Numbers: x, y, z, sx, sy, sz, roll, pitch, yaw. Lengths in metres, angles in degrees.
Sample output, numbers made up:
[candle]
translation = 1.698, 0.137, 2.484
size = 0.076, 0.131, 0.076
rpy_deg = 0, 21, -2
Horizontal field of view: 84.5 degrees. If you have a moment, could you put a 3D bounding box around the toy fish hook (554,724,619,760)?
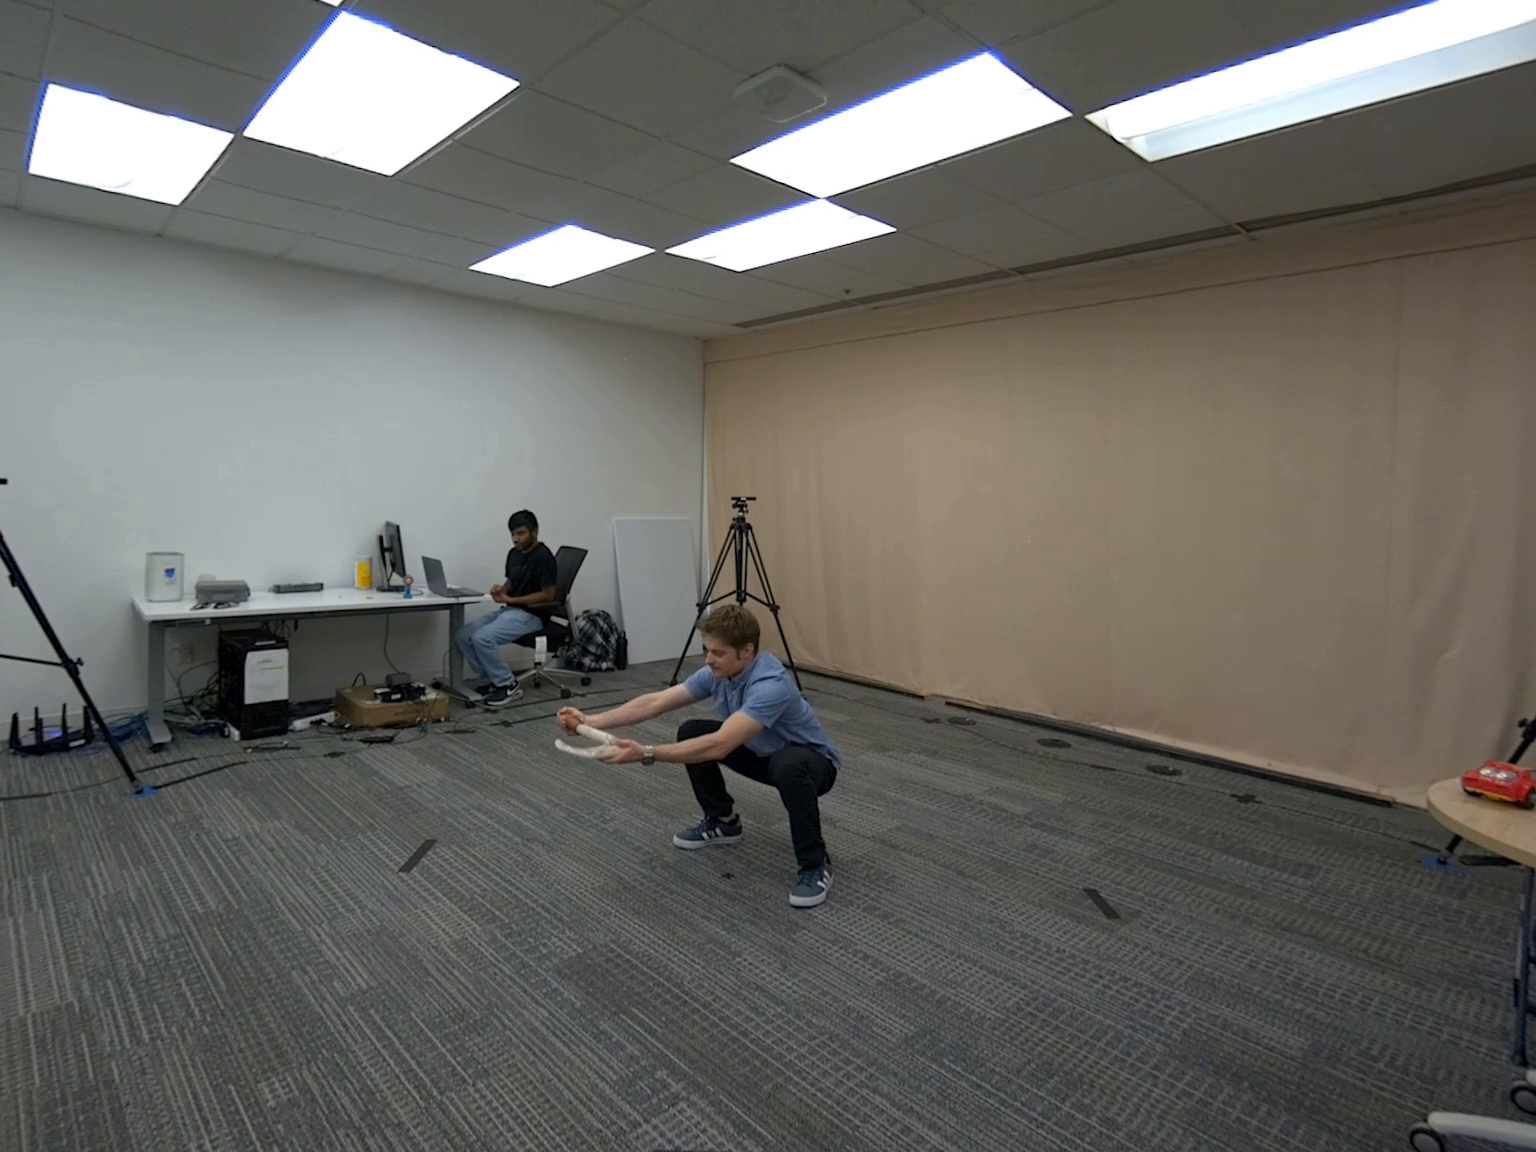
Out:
[toy fish hook]
translation = -0.682, 0.560, 3.009
size = 0.219, 0.048, 0.519
rpy_deg = 7, 3, -35
